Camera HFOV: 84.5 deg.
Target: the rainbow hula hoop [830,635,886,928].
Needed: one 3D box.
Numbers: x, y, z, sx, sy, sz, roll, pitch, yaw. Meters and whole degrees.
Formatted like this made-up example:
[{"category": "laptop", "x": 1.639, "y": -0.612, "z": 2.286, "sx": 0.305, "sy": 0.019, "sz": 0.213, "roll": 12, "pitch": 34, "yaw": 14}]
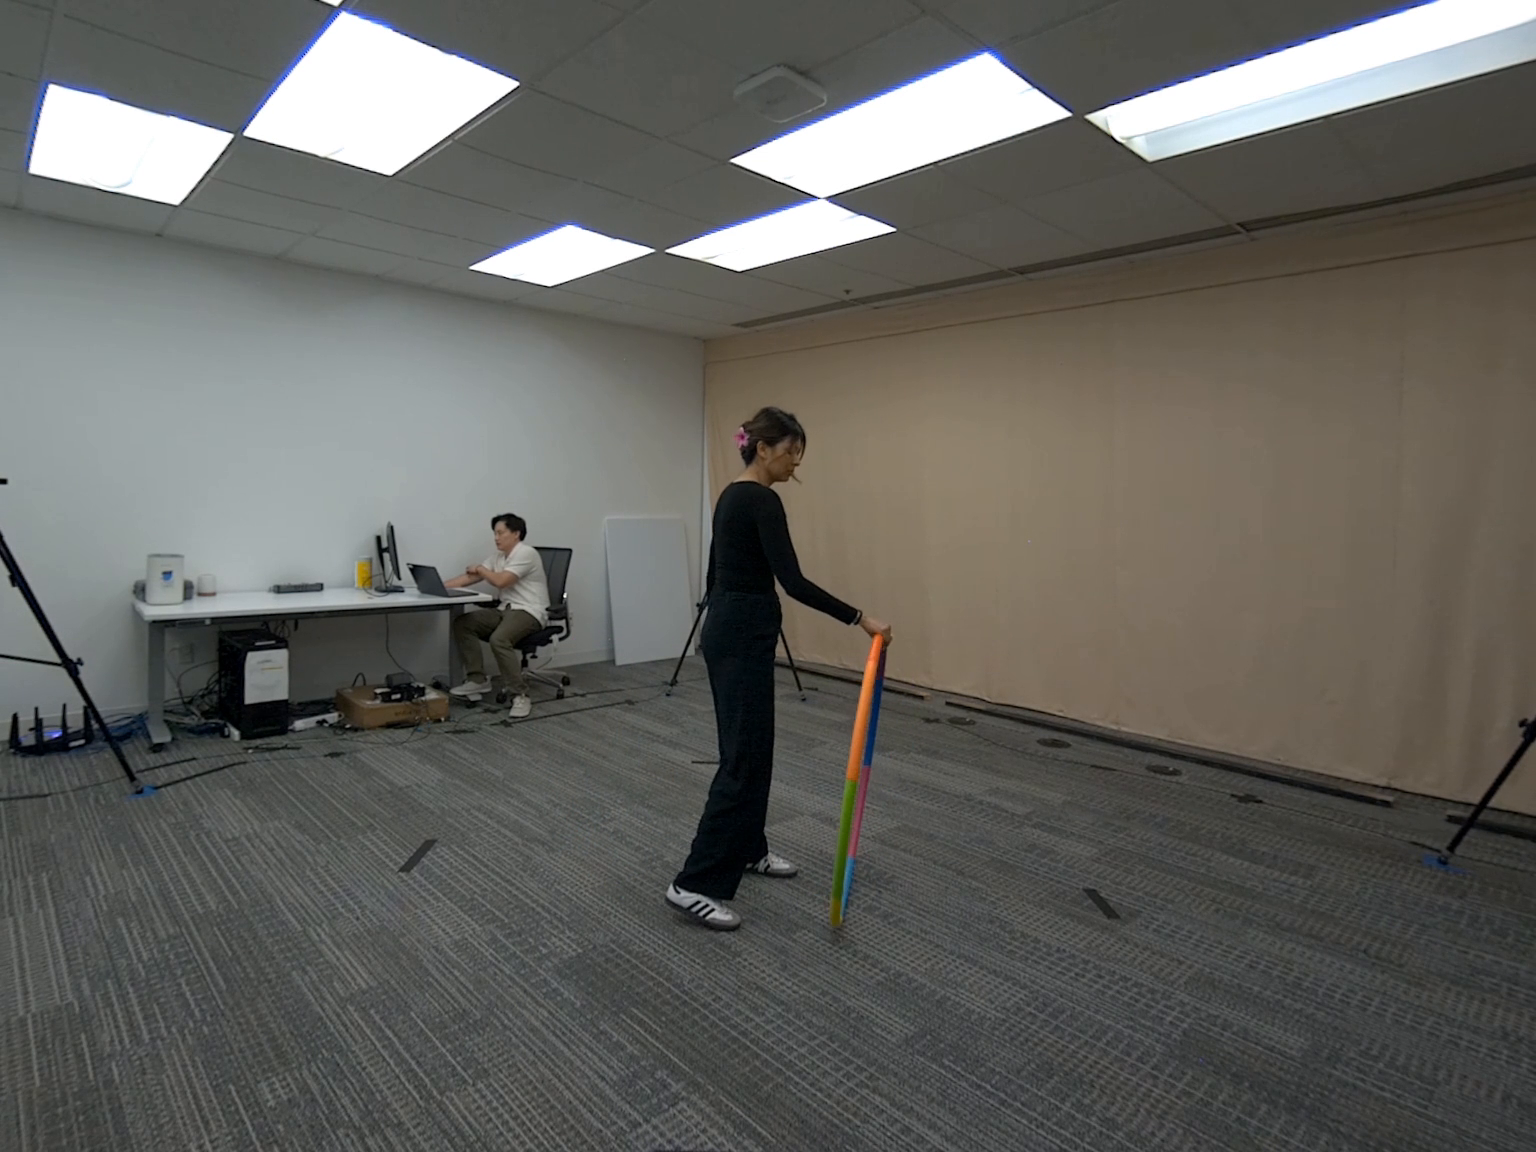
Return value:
[{"category": "rainbow hula hoop", "x": 0.298, "y": 0.657, "z": 2.817, "sx": 0.036, "sy": 0.975, "sz": 0.971, "roll": 10, "pitch": 6, "yaw": 11}]
